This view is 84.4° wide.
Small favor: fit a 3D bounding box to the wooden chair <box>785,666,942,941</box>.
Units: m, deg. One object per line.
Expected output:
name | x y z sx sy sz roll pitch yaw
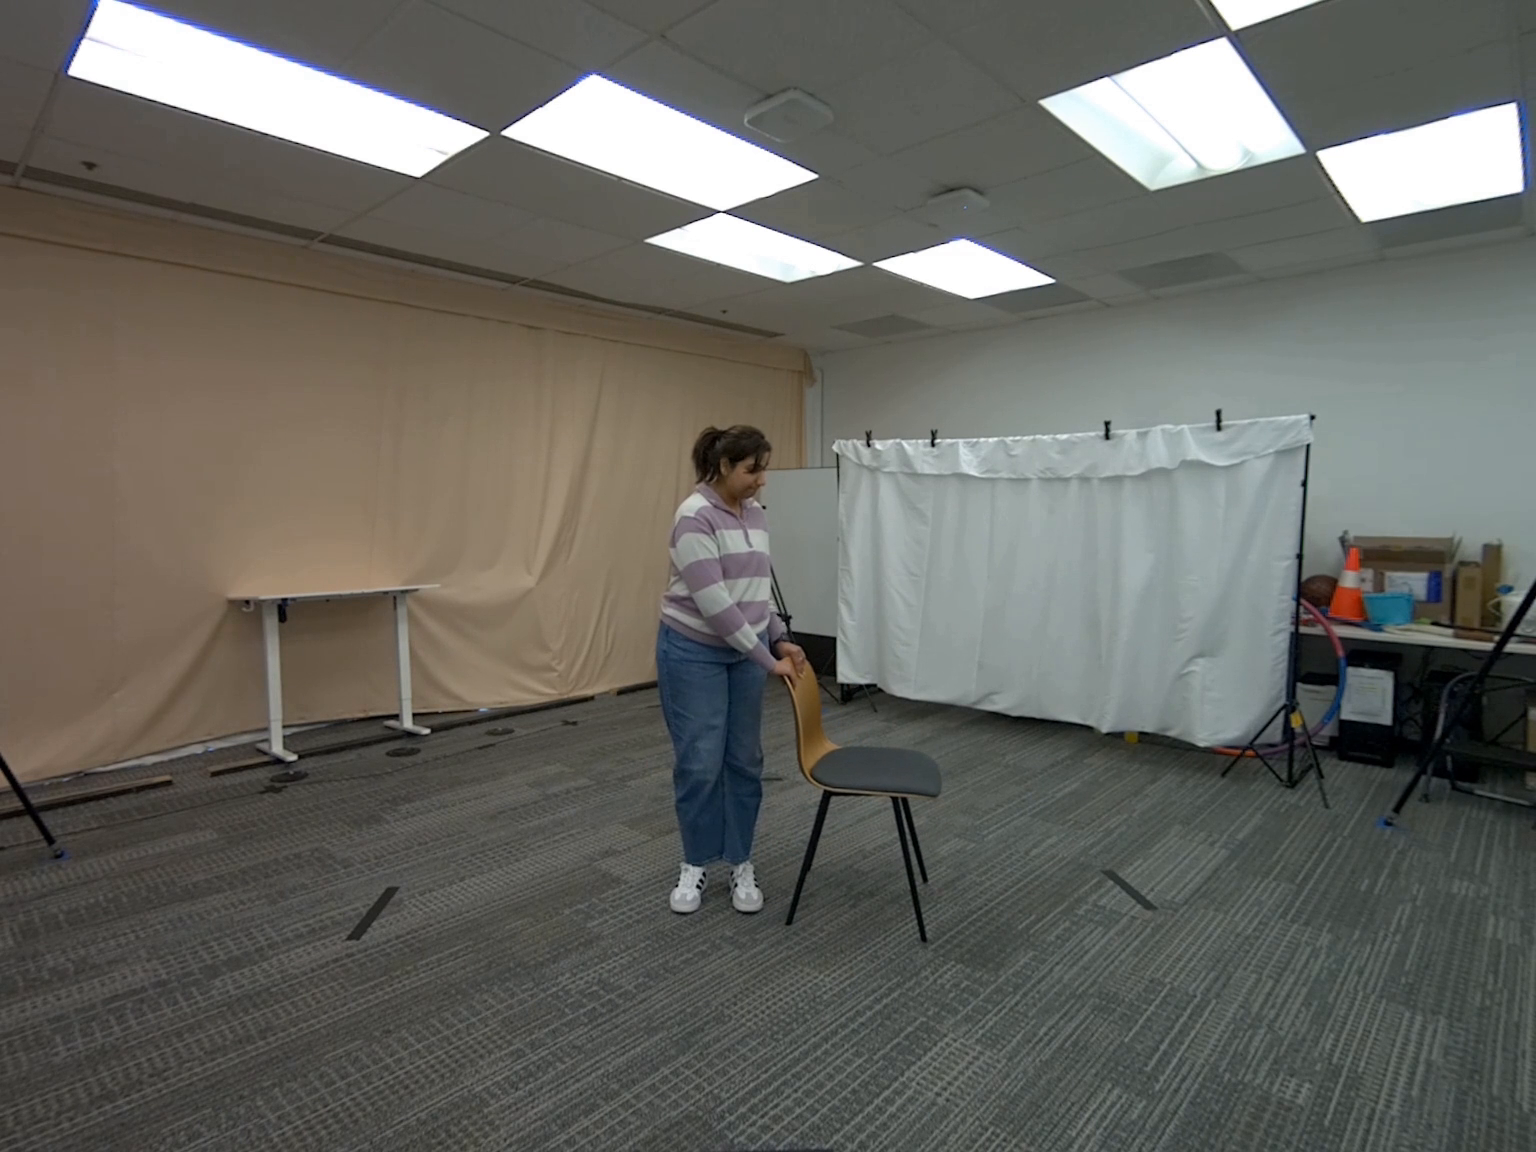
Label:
wooden chair | 0.339 0.719 2.913 0.531 0.876 0.471 -3 2 14
